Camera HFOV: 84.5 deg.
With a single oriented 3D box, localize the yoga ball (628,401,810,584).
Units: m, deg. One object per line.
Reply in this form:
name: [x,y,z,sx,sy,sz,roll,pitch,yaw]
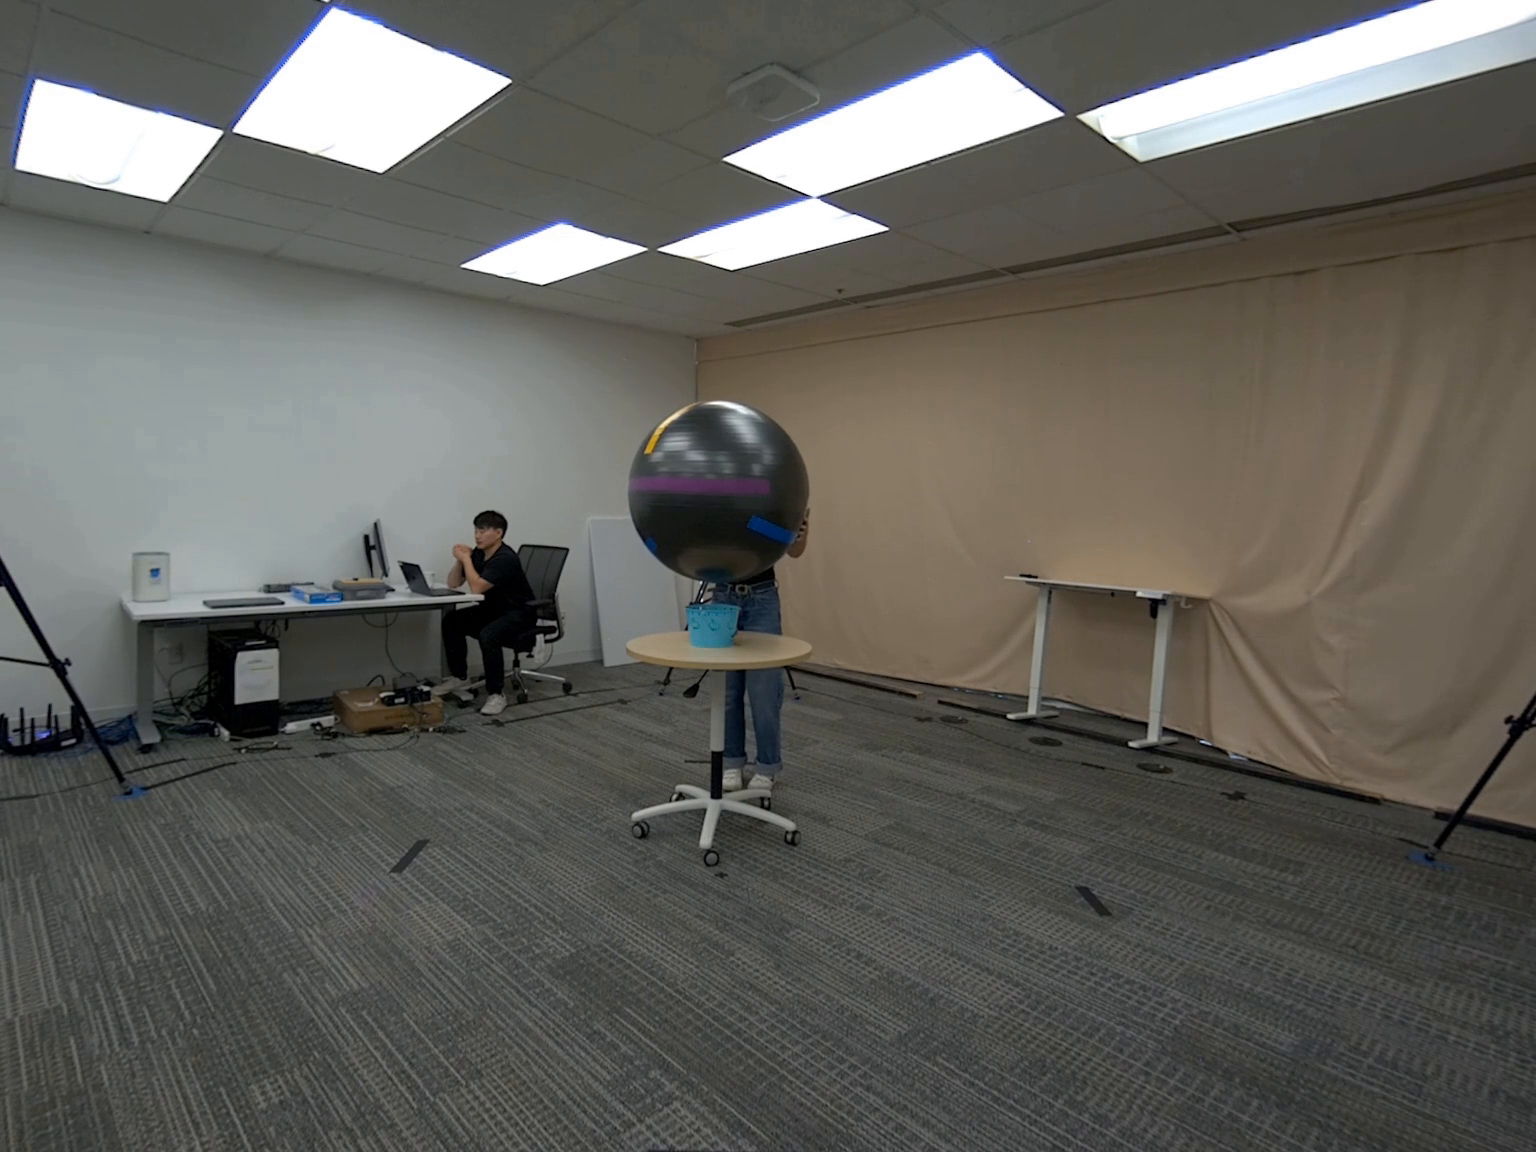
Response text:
yoga ball: [-0.210,-0.354,3.535,0.757,0.756,0.761,1,4,-1]
